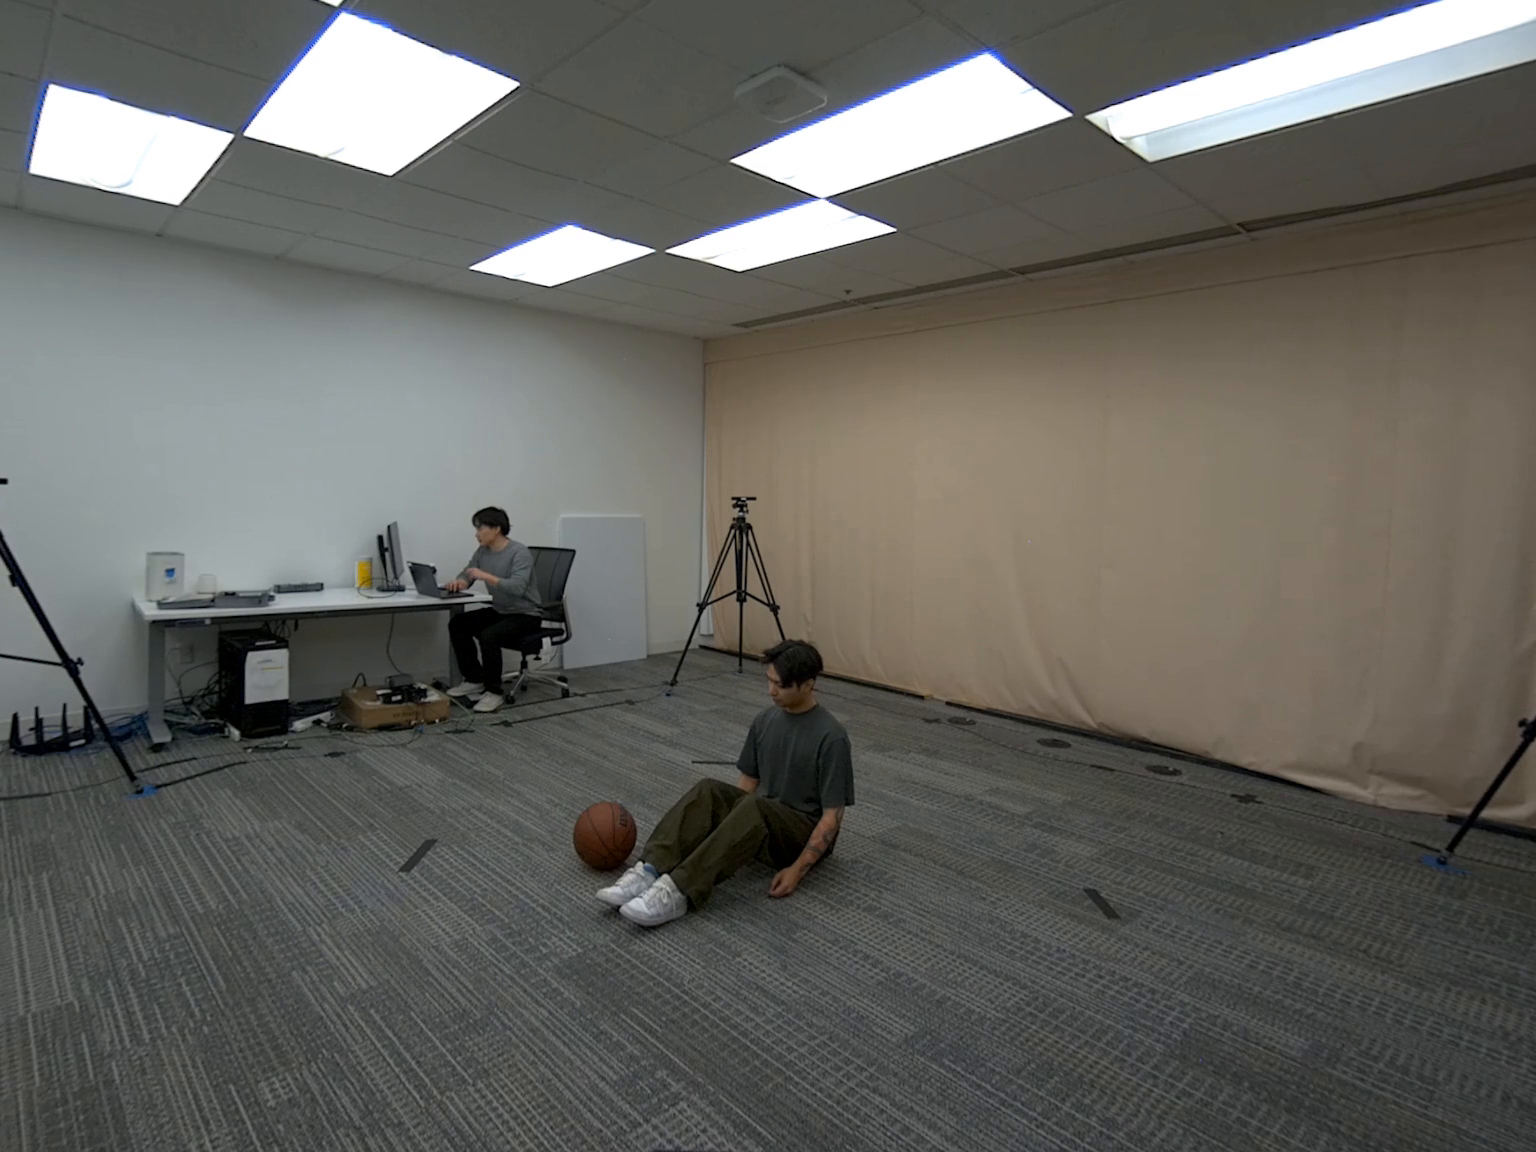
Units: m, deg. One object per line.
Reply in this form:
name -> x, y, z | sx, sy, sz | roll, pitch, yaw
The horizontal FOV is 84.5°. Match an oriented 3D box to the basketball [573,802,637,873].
basketball -> -0.614, 0.967, 3.160 | 0.236, 0.235, 0.237 | 1, 4, -1
